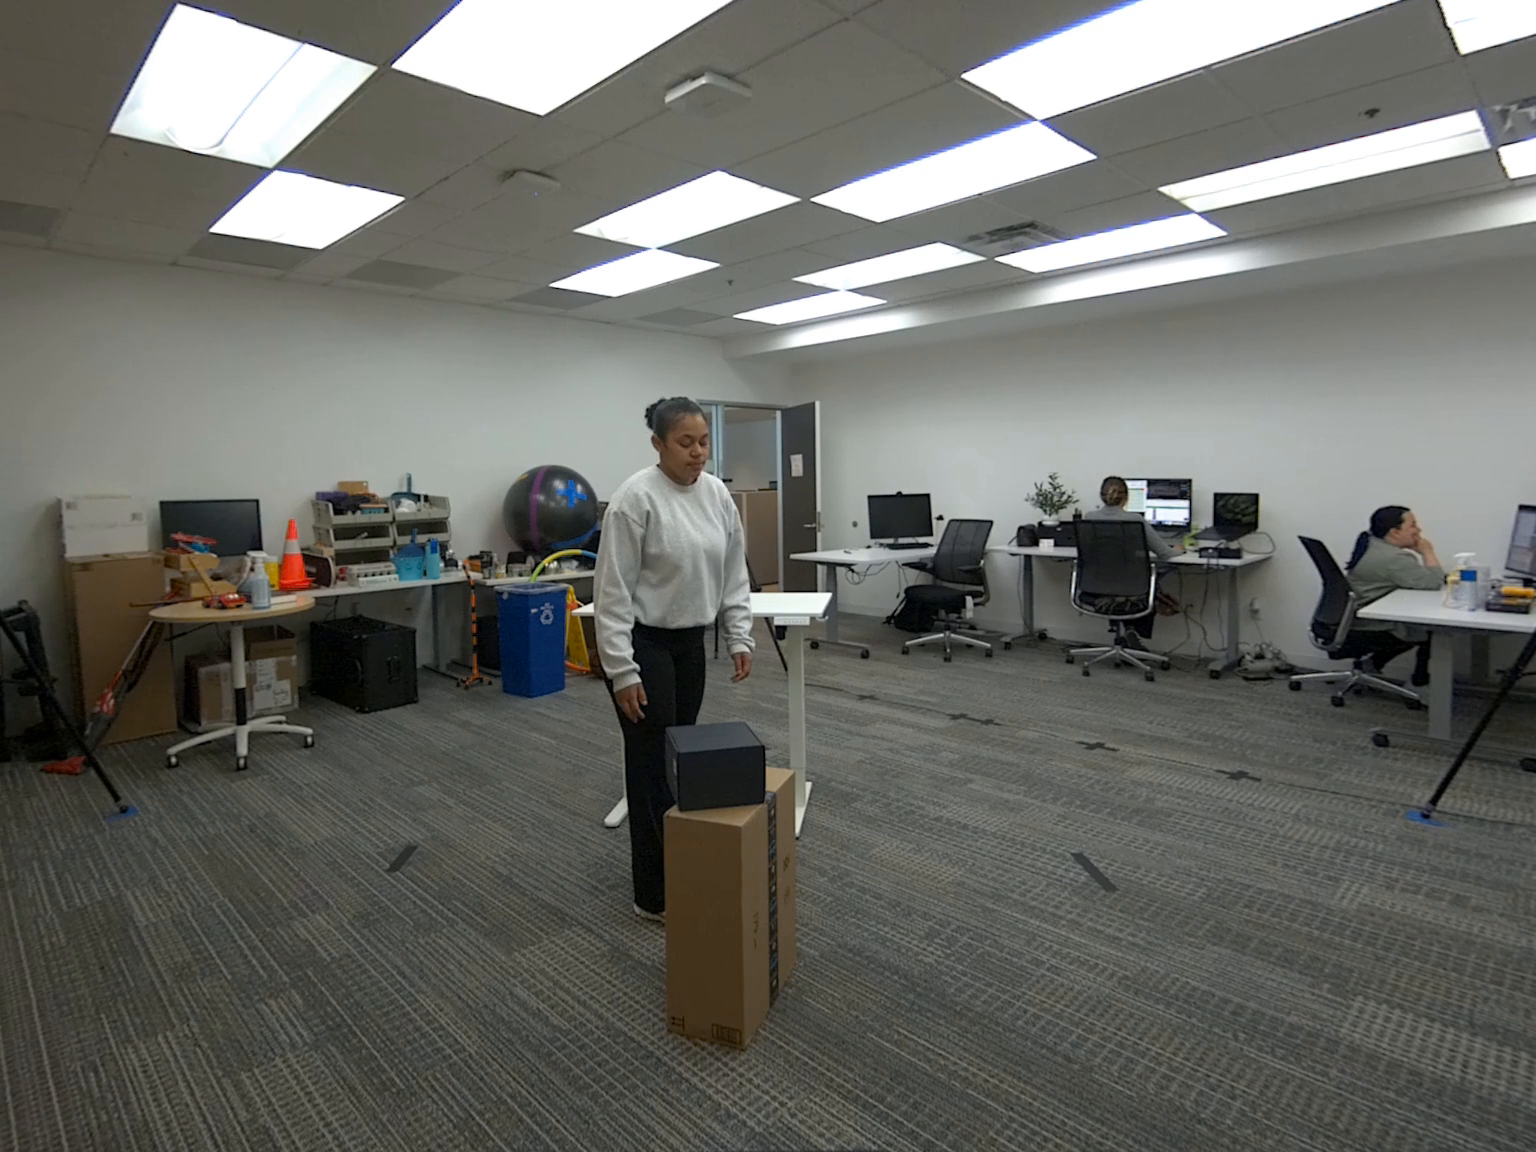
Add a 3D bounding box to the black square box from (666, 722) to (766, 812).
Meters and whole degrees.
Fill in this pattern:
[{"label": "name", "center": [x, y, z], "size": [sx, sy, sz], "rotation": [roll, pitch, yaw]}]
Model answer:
[{"label": "black square box", "center": [-0.144, 0.502, 2.272], "size": [0.225, 0.155, 0.221], "rotation": [-2, 6, -14]}]
